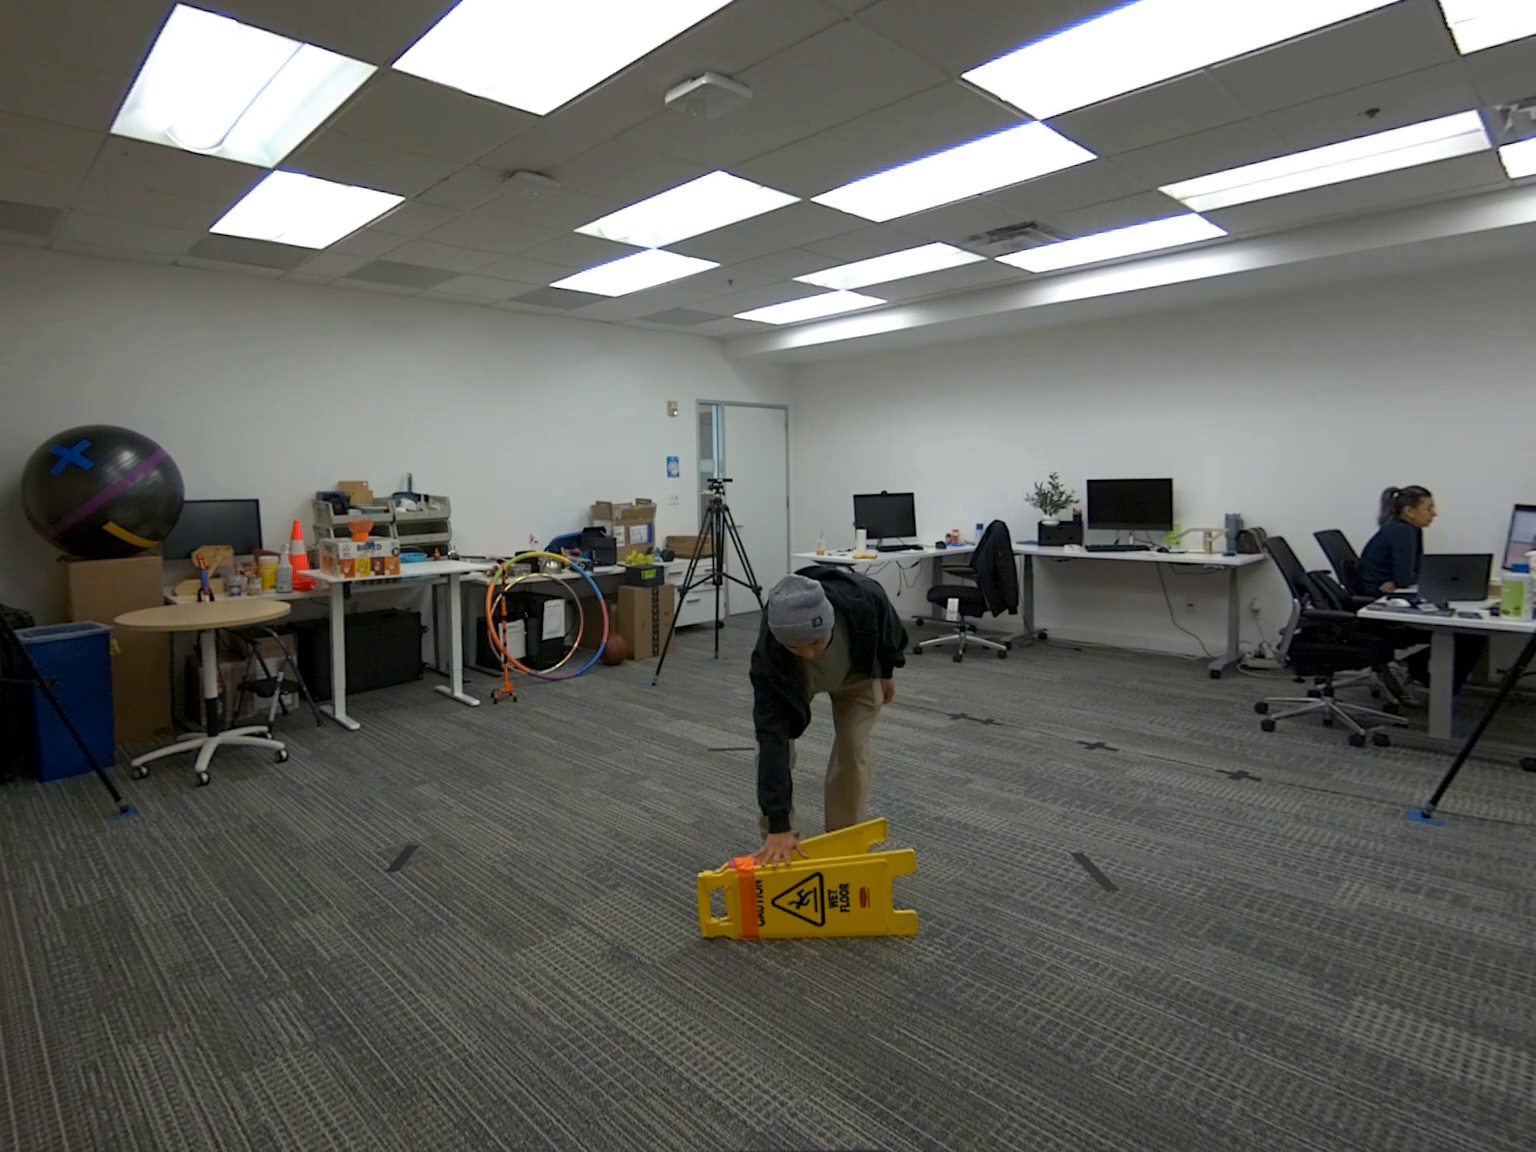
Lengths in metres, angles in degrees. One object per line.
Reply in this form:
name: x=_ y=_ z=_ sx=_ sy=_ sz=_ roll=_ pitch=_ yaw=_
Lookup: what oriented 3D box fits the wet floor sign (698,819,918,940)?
wet floor sign: x=0.112 y=0.972 z=2.639 sx=0.640 sy=0.280 sz=0.294 roll=-5 pitch=7 yaw=-10
